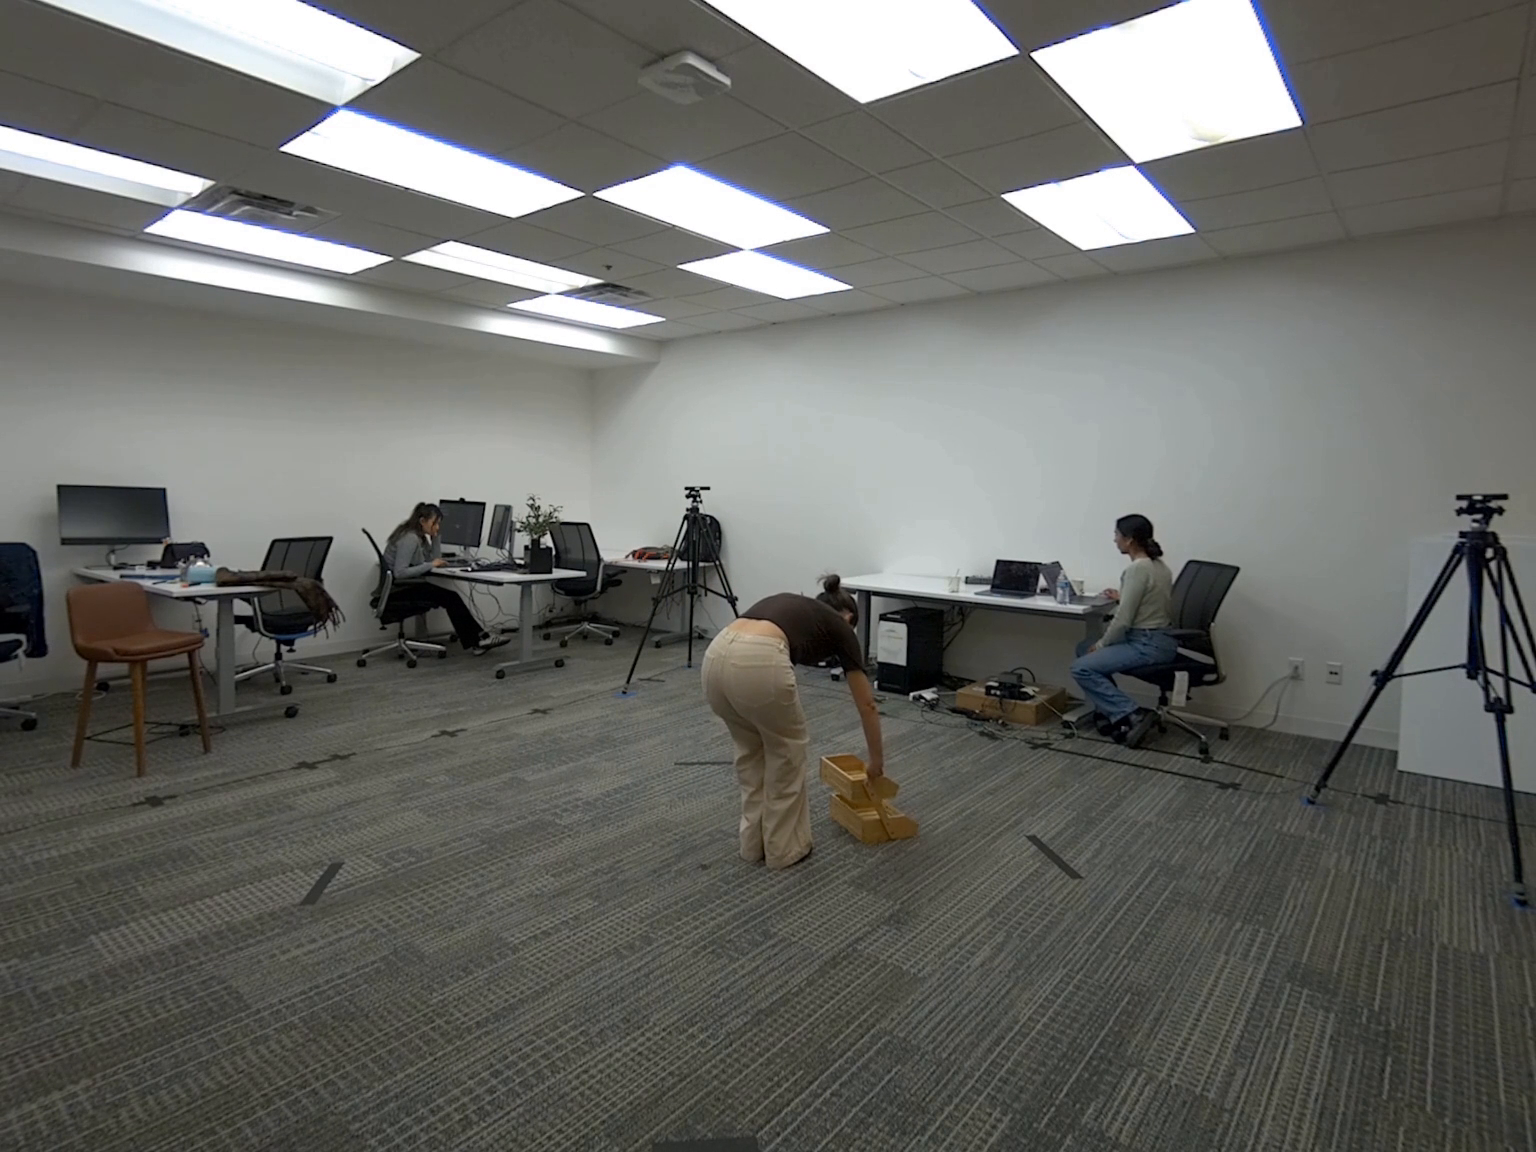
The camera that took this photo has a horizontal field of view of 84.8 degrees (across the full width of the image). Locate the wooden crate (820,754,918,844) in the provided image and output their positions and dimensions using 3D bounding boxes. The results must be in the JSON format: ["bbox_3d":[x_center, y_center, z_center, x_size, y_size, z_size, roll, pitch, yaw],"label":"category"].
[{"bbox_3d":[0.413,0.902,3.523,0.296,0.272,0.332,-1,5,-21],"label":"wooden crate"}]
